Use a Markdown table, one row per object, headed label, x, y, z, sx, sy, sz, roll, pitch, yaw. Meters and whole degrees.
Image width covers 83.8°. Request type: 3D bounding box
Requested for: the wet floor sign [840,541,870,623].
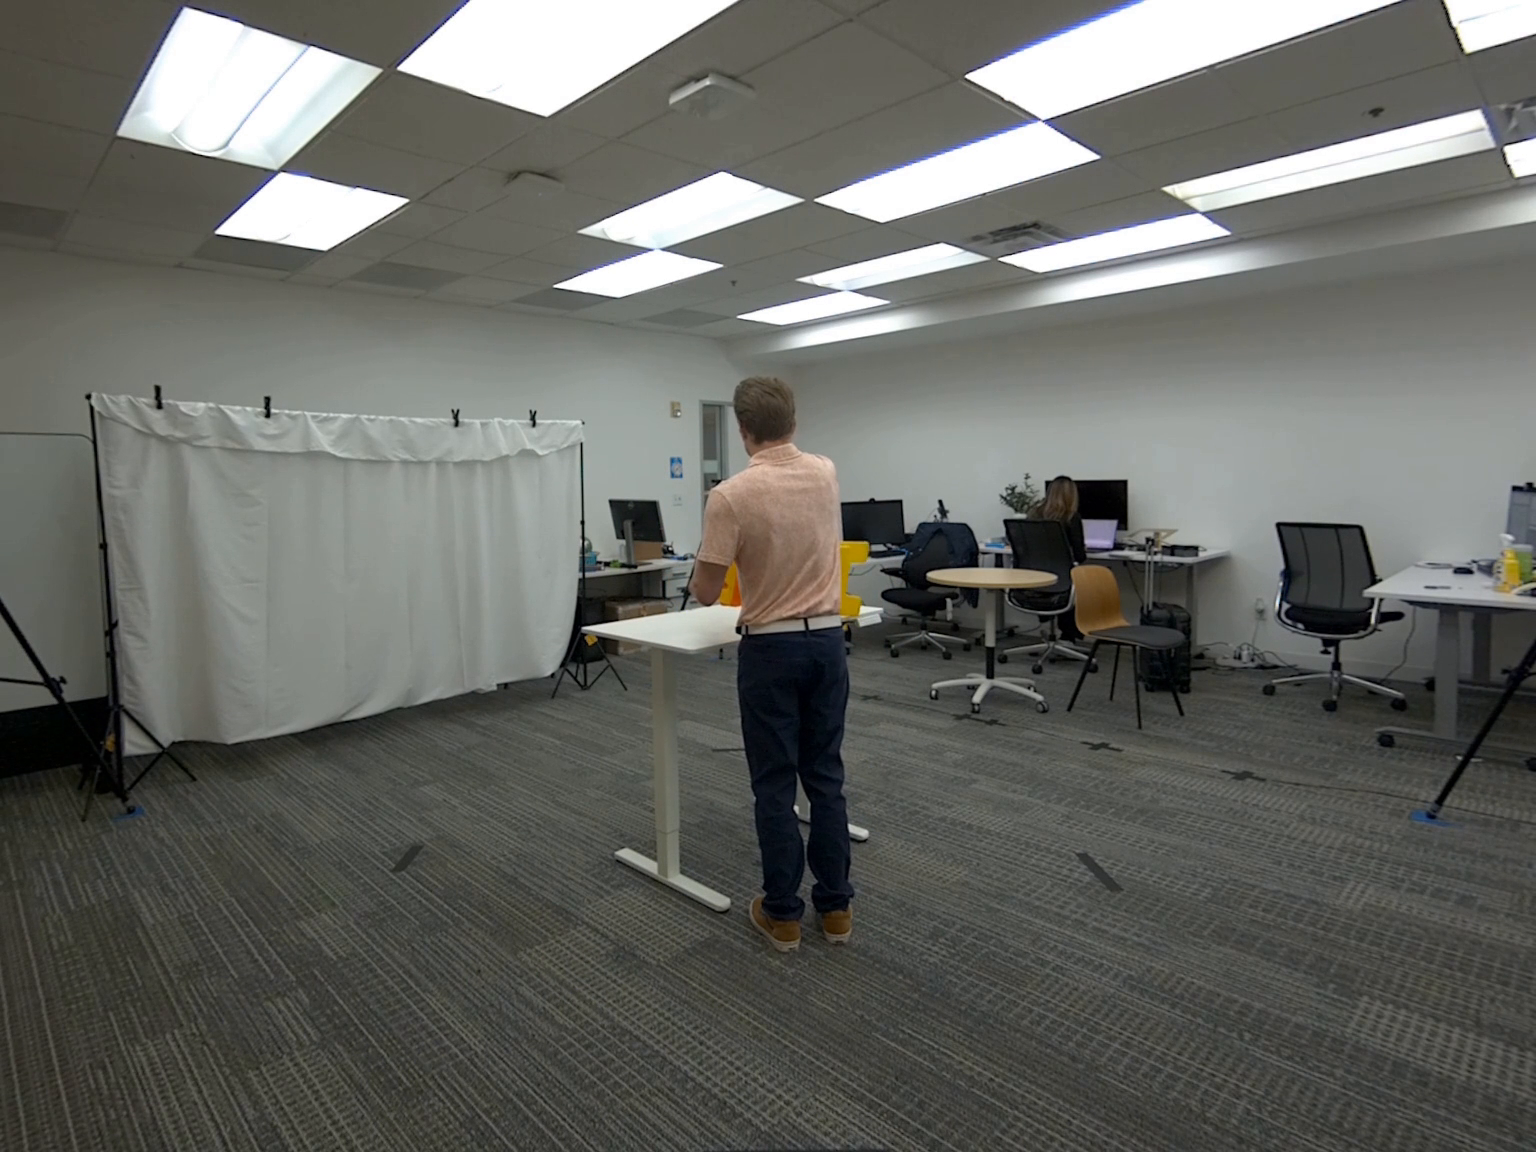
| label | x | y | z | sx | sy | sz | roll | pitch | yaw |
| --- | --- | --- | --- | --- | --- | --- | --- | --- | --- |
| wet floor sign | 0.043 | -0.012 | 3.028 | 0.627 | 0.281 | 0.300 | 2 | 10 | -38 |
